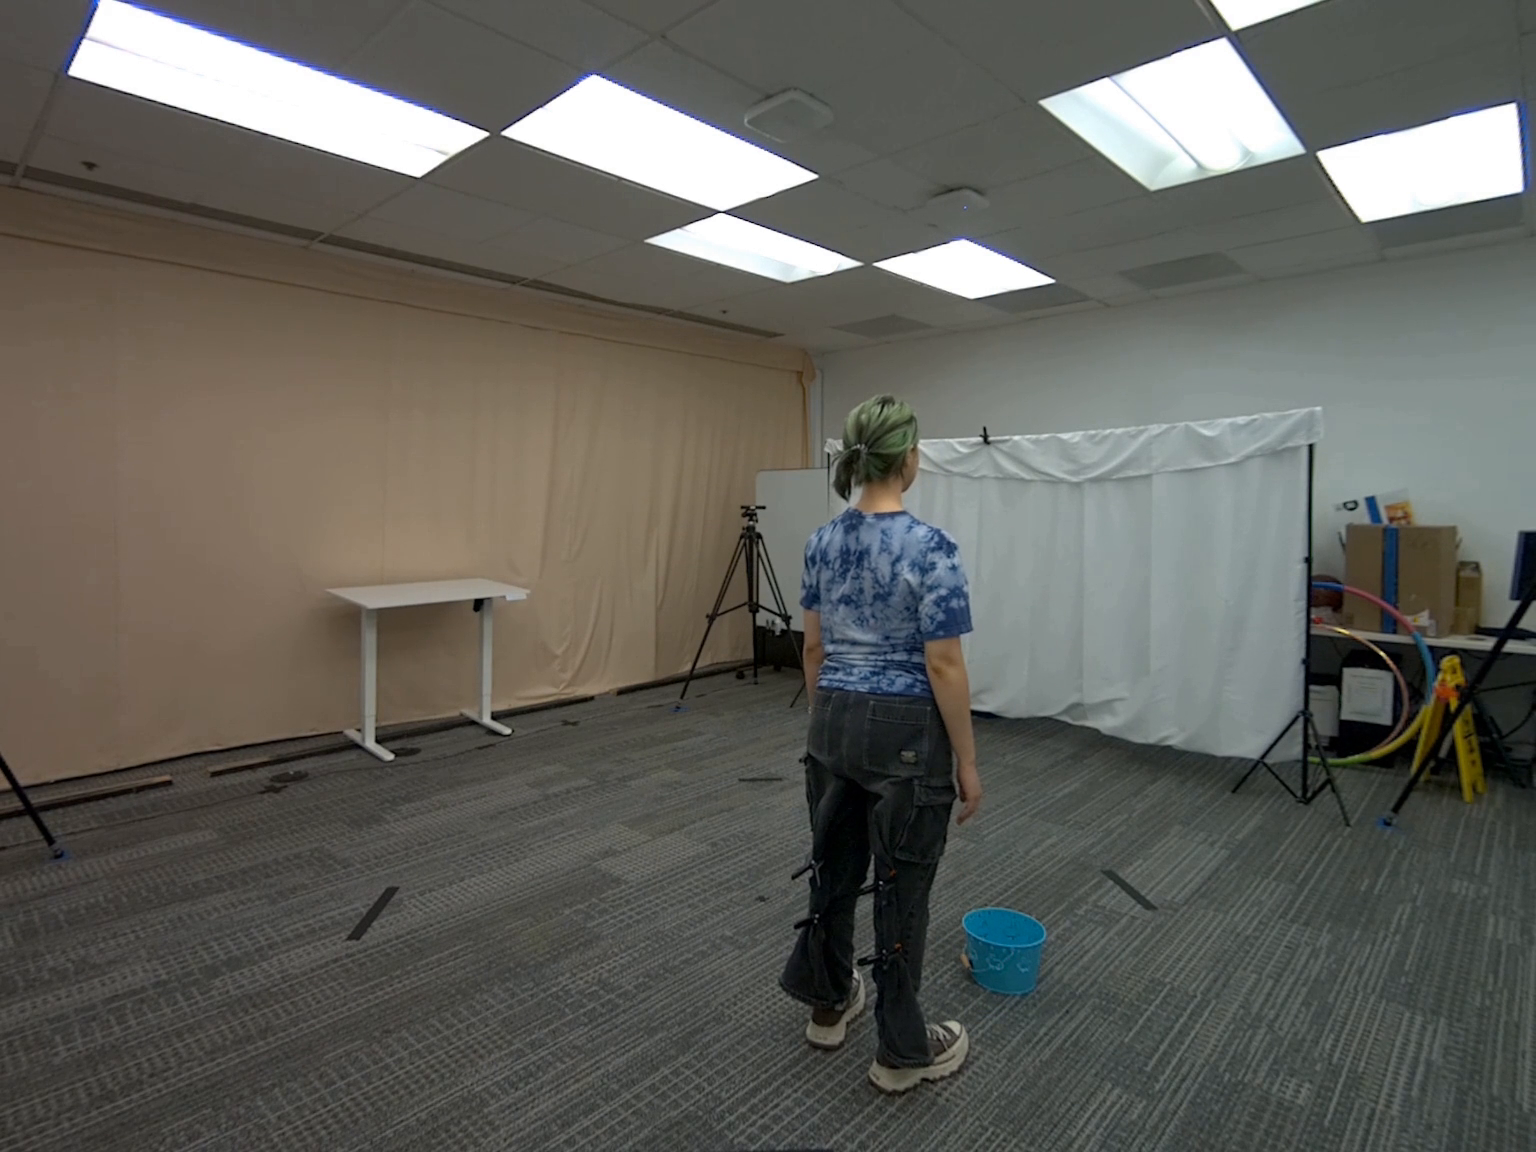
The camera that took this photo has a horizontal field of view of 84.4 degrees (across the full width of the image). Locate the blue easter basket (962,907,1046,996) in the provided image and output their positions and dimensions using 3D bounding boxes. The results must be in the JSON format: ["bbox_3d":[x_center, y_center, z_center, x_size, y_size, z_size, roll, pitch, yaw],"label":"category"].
[{"bbox_3d":[0.697,1.106,2.482,0.243,0.155,0.244,0,3,-2],"label":"blue easter basket"}]
